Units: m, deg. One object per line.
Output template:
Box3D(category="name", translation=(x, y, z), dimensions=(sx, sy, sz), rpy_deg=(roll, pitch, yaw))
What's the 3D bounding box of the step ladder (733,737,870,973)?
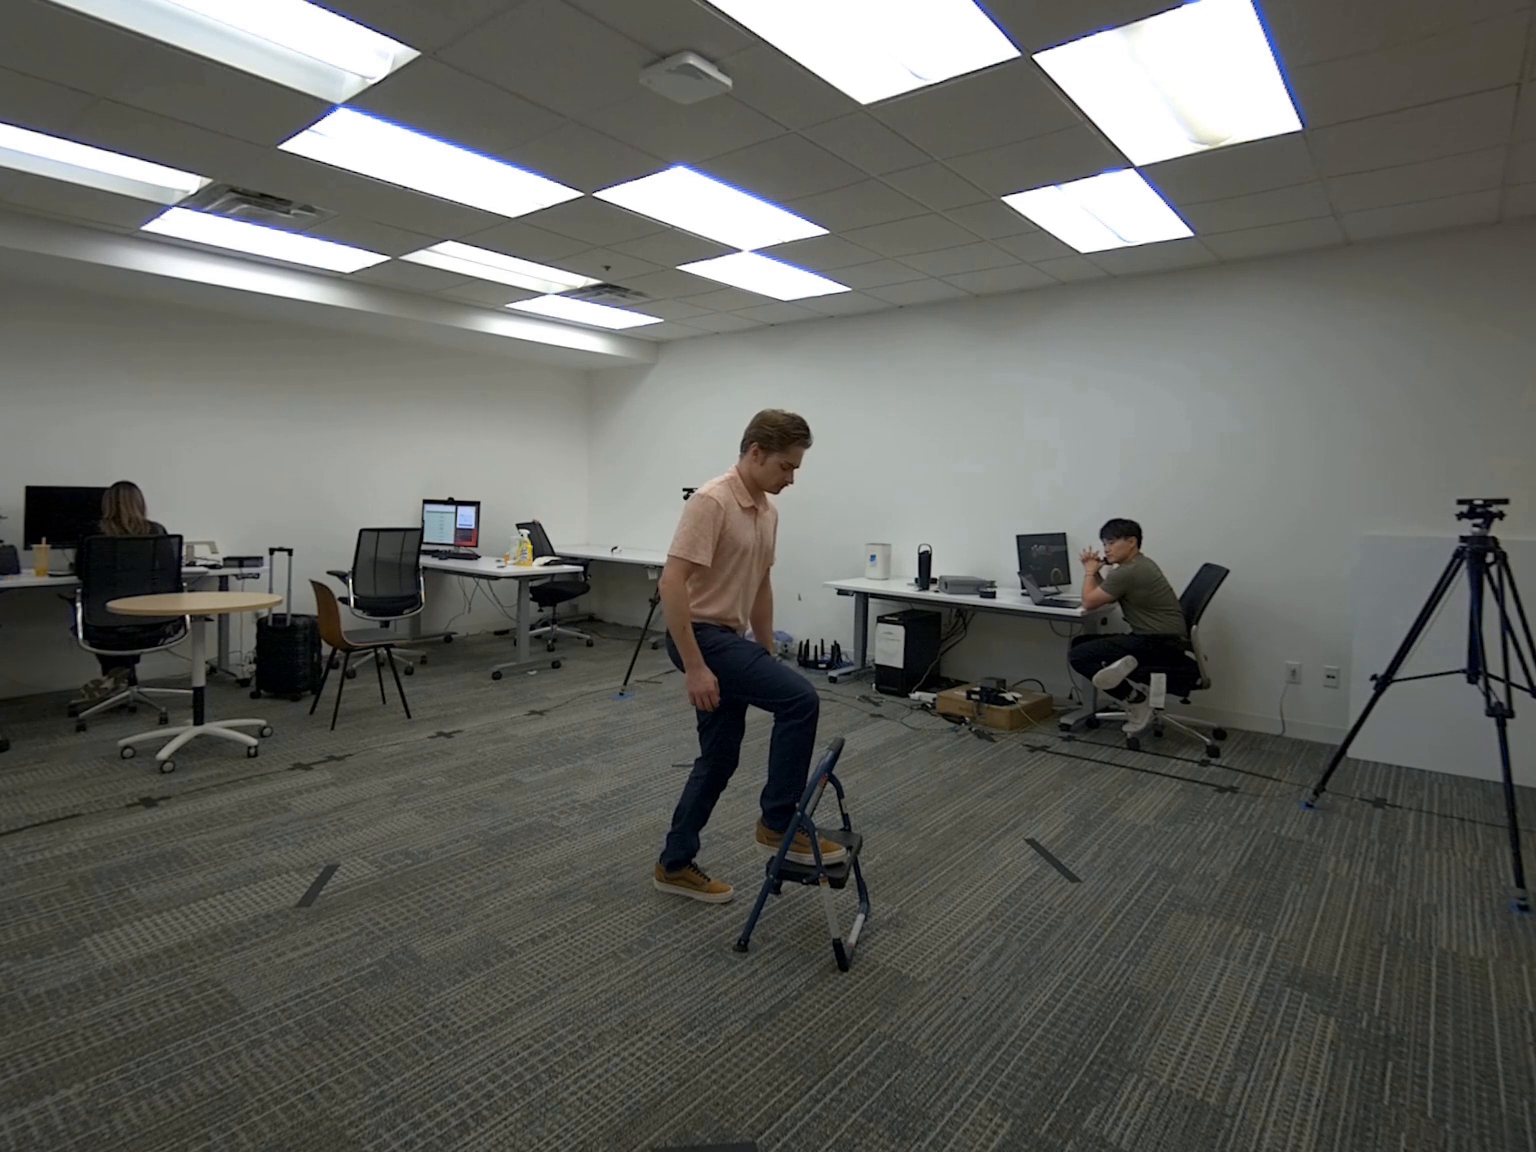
Box3D(category="step ladder", translation=(0.125, 0.817, 2.689), dimensions=(0.356, 0.604, 0.424), rpy_deg=(3, 3, 17))
